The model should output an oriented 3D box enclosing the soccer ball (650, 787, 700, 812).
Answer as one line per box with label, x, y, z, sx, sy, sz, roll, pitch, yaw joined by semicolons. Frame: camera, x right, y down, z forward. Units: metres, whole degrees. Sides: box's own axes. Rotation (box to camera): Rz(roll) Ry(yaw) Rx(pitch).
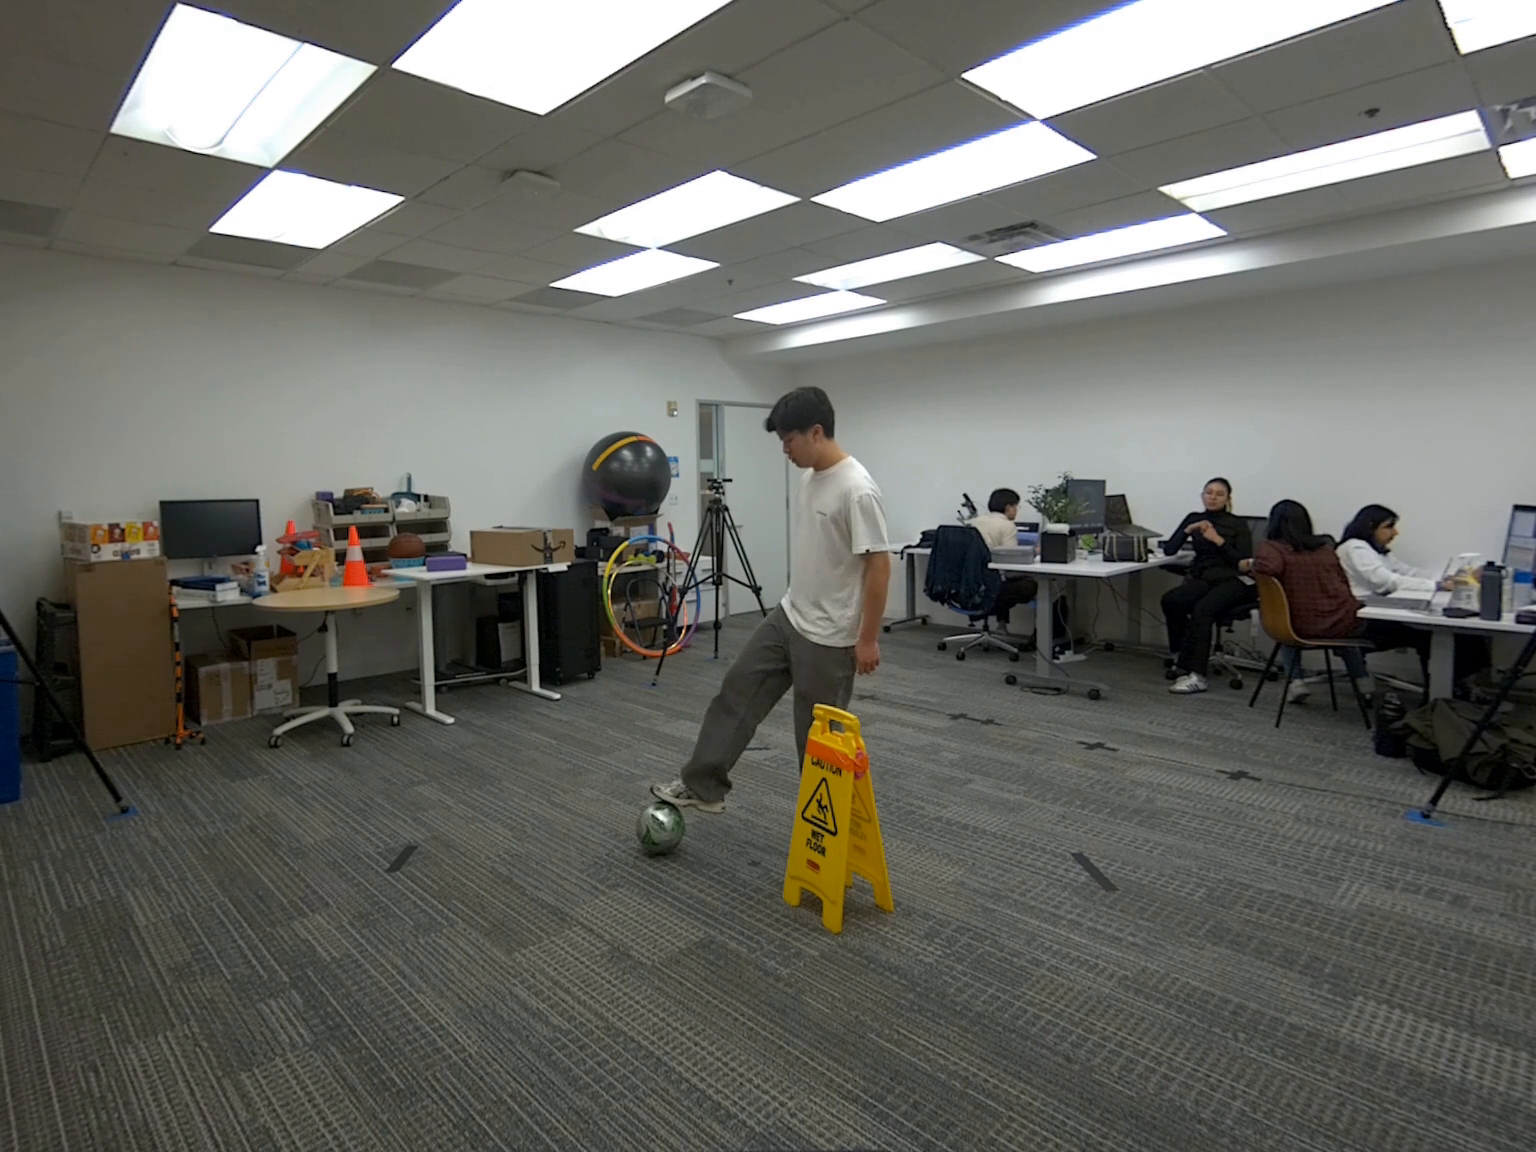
soccer ball;-0.386;0.952;3.223;0.187;0.187;0.188;-1;5;-2
